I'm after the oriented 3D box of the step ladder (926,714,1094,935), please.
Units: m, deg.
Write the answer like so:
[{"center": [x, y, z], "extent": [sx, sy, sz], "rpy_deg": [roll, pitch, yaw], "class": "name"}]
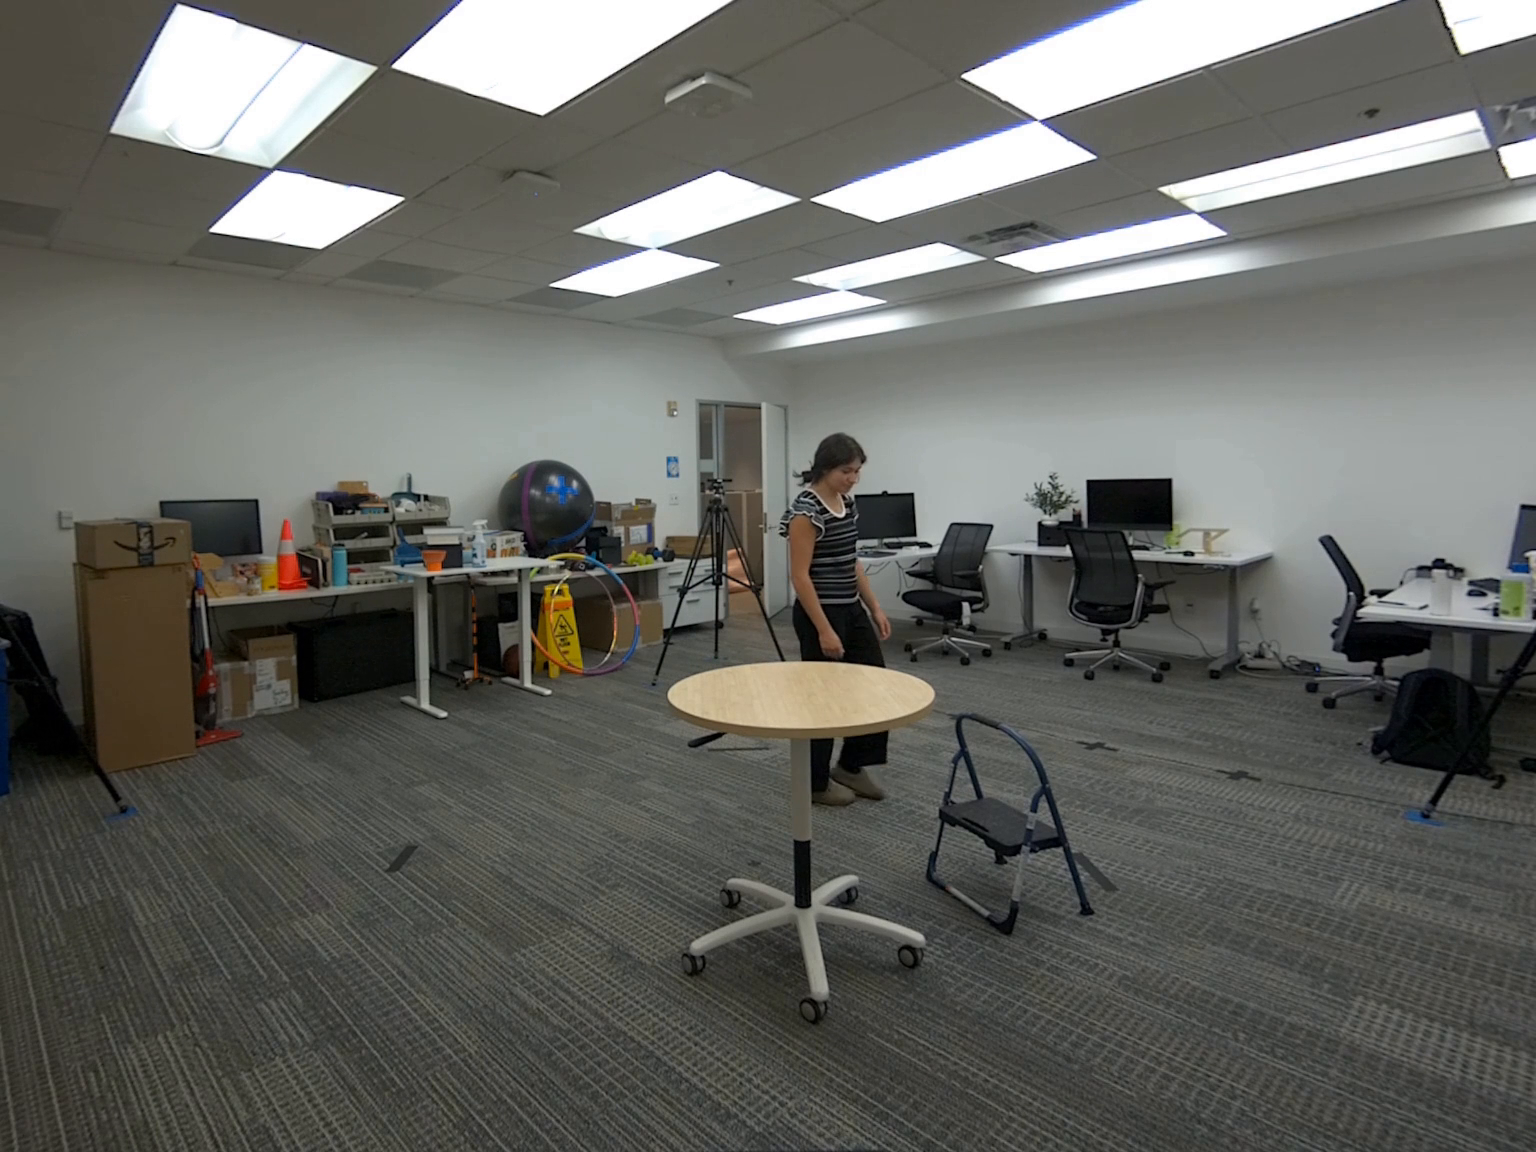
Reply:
[{"center": [0.786, 0.761, 2.823], "extent": [0.342, 0.604, 0.441], "rpy_deg": [-3, 4, -25], "class": "step ladder"}]
